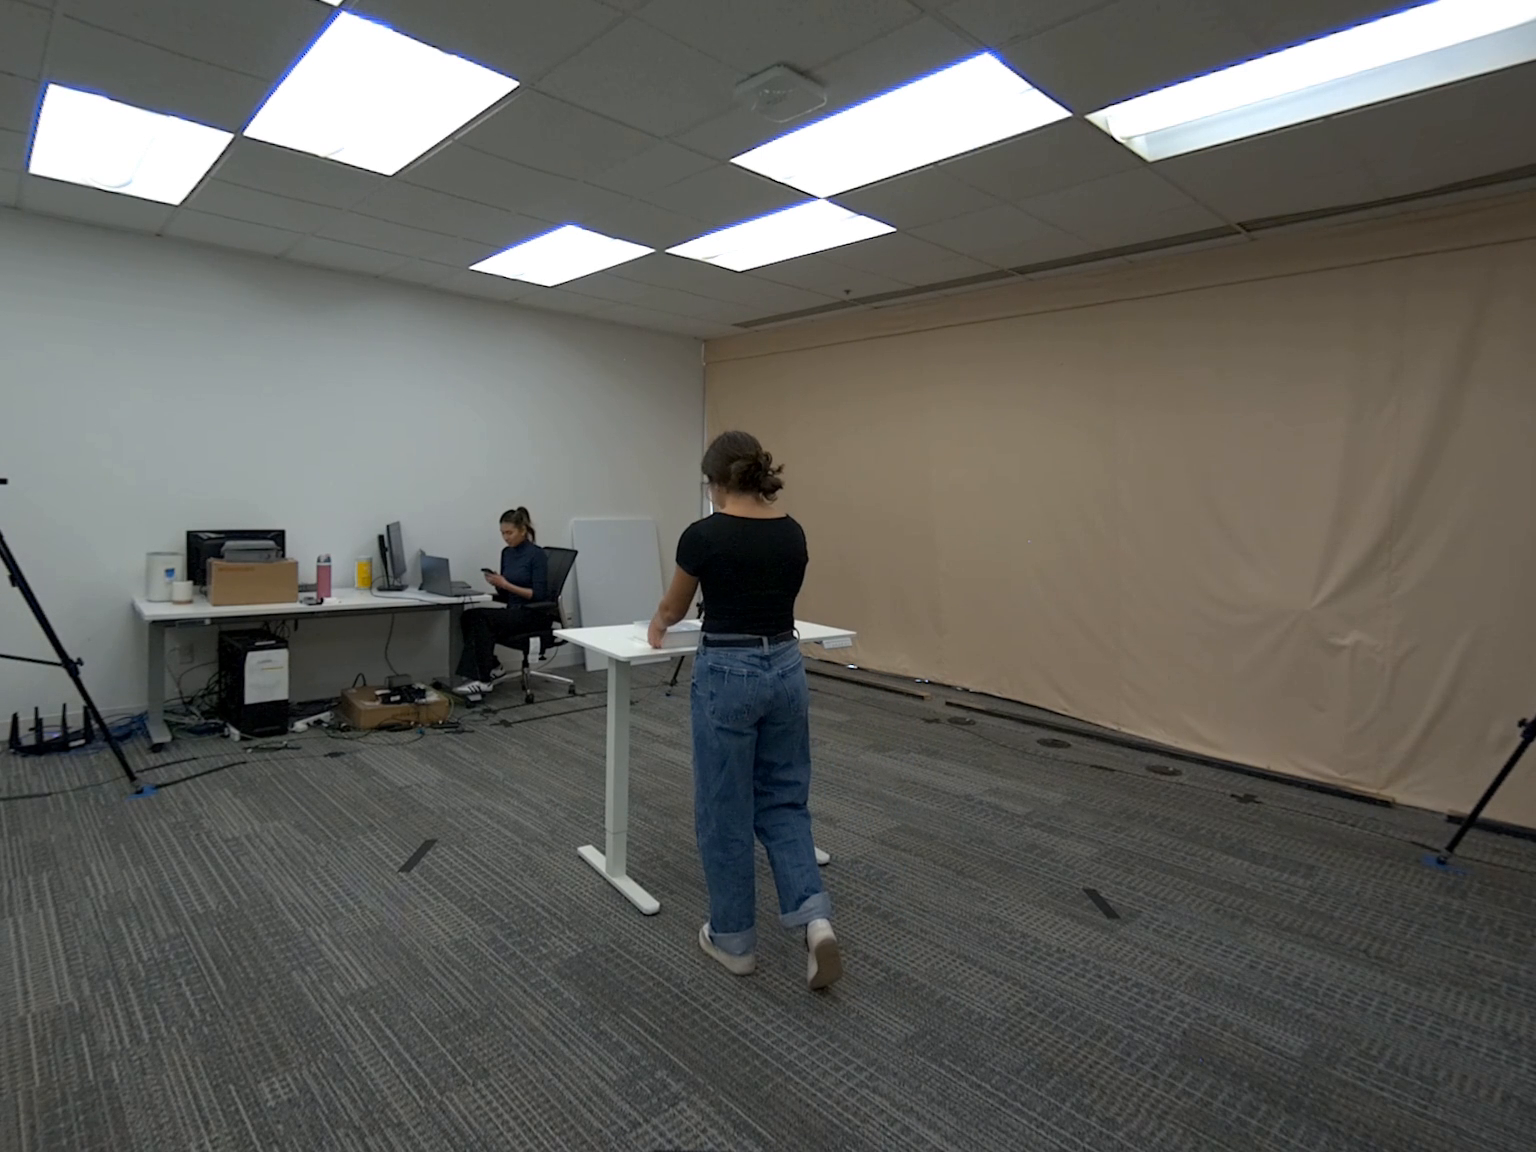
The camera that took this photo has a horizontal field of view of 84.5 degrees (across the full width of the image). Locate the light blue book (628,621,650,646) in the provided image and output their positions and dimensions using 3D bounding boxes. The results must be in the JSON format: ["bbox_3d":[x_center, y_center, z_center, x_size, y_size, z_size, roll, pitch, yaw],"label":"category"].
[{"bbox_3d":[-0.364,0.208,2.986,0.188,0.059,0.267,-3,7,-29],"label":"light blue book"}]
